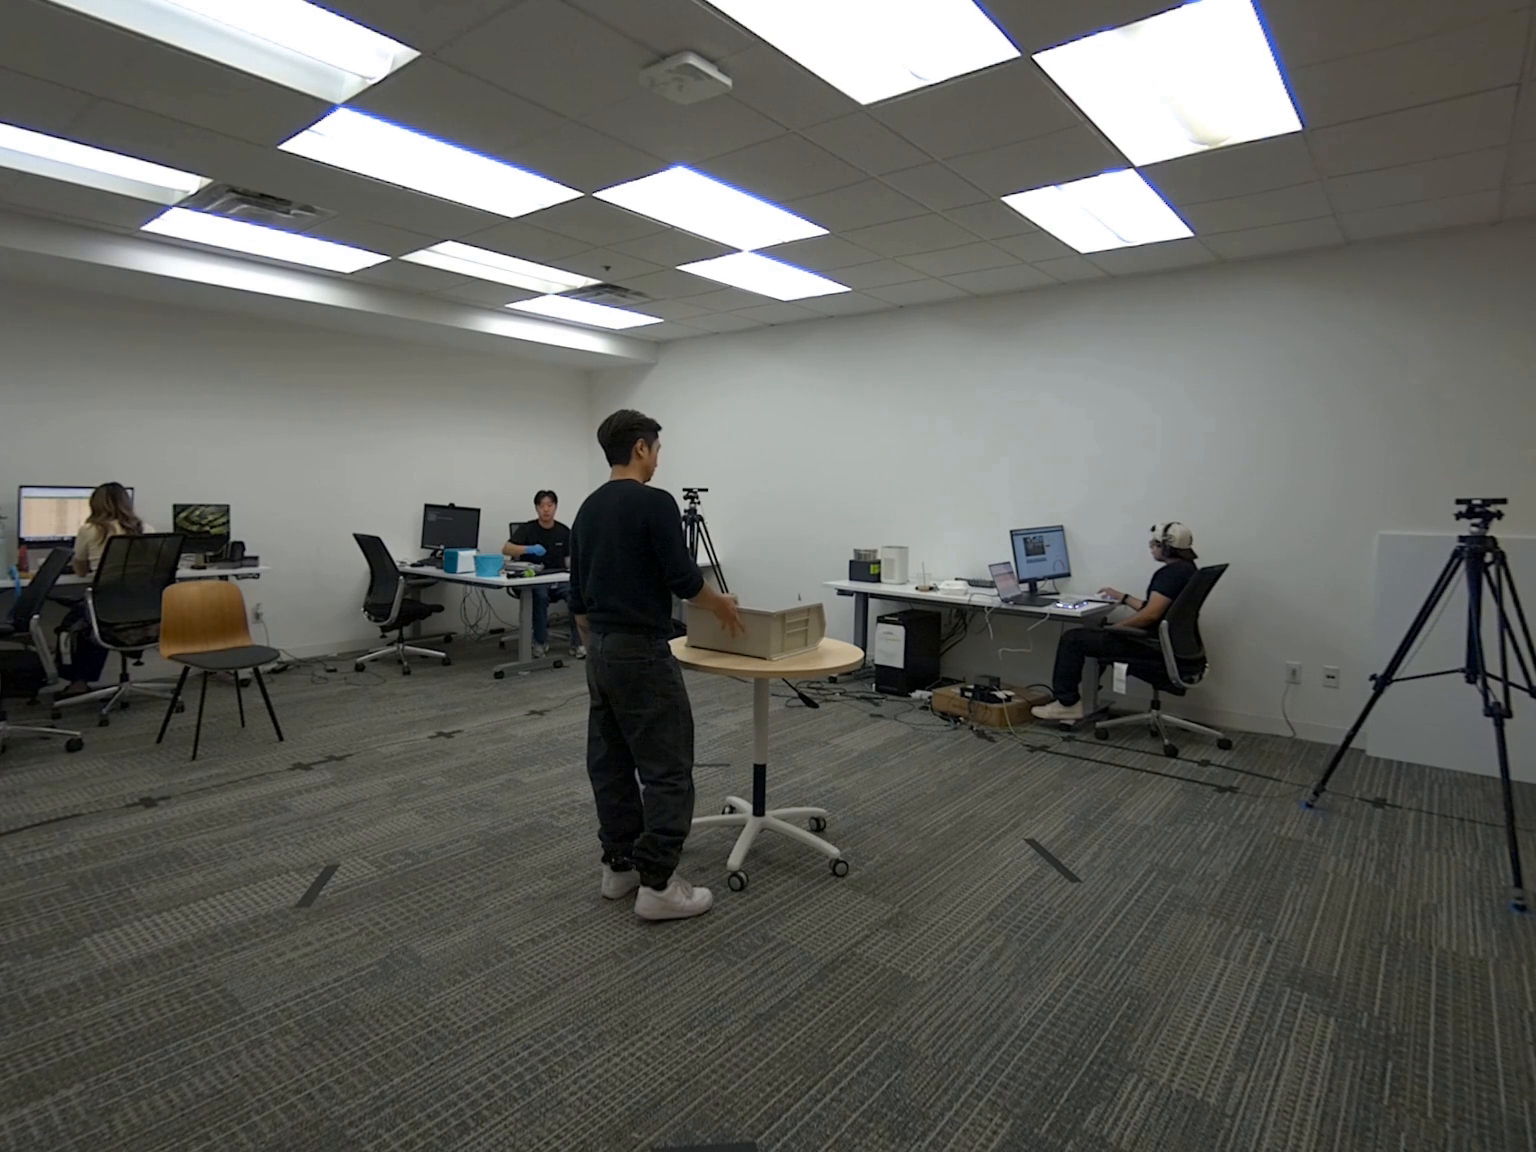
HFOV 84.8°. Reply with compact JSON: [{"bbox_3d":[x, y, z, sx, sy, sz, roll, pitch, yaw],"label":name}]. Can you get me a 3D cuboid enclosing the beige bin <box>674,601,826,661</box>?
[{"bbox_3d":[-0.061,0.184,3.268,0.436,0.188,0.367,5,8,35],"label":"beige bin"}]
